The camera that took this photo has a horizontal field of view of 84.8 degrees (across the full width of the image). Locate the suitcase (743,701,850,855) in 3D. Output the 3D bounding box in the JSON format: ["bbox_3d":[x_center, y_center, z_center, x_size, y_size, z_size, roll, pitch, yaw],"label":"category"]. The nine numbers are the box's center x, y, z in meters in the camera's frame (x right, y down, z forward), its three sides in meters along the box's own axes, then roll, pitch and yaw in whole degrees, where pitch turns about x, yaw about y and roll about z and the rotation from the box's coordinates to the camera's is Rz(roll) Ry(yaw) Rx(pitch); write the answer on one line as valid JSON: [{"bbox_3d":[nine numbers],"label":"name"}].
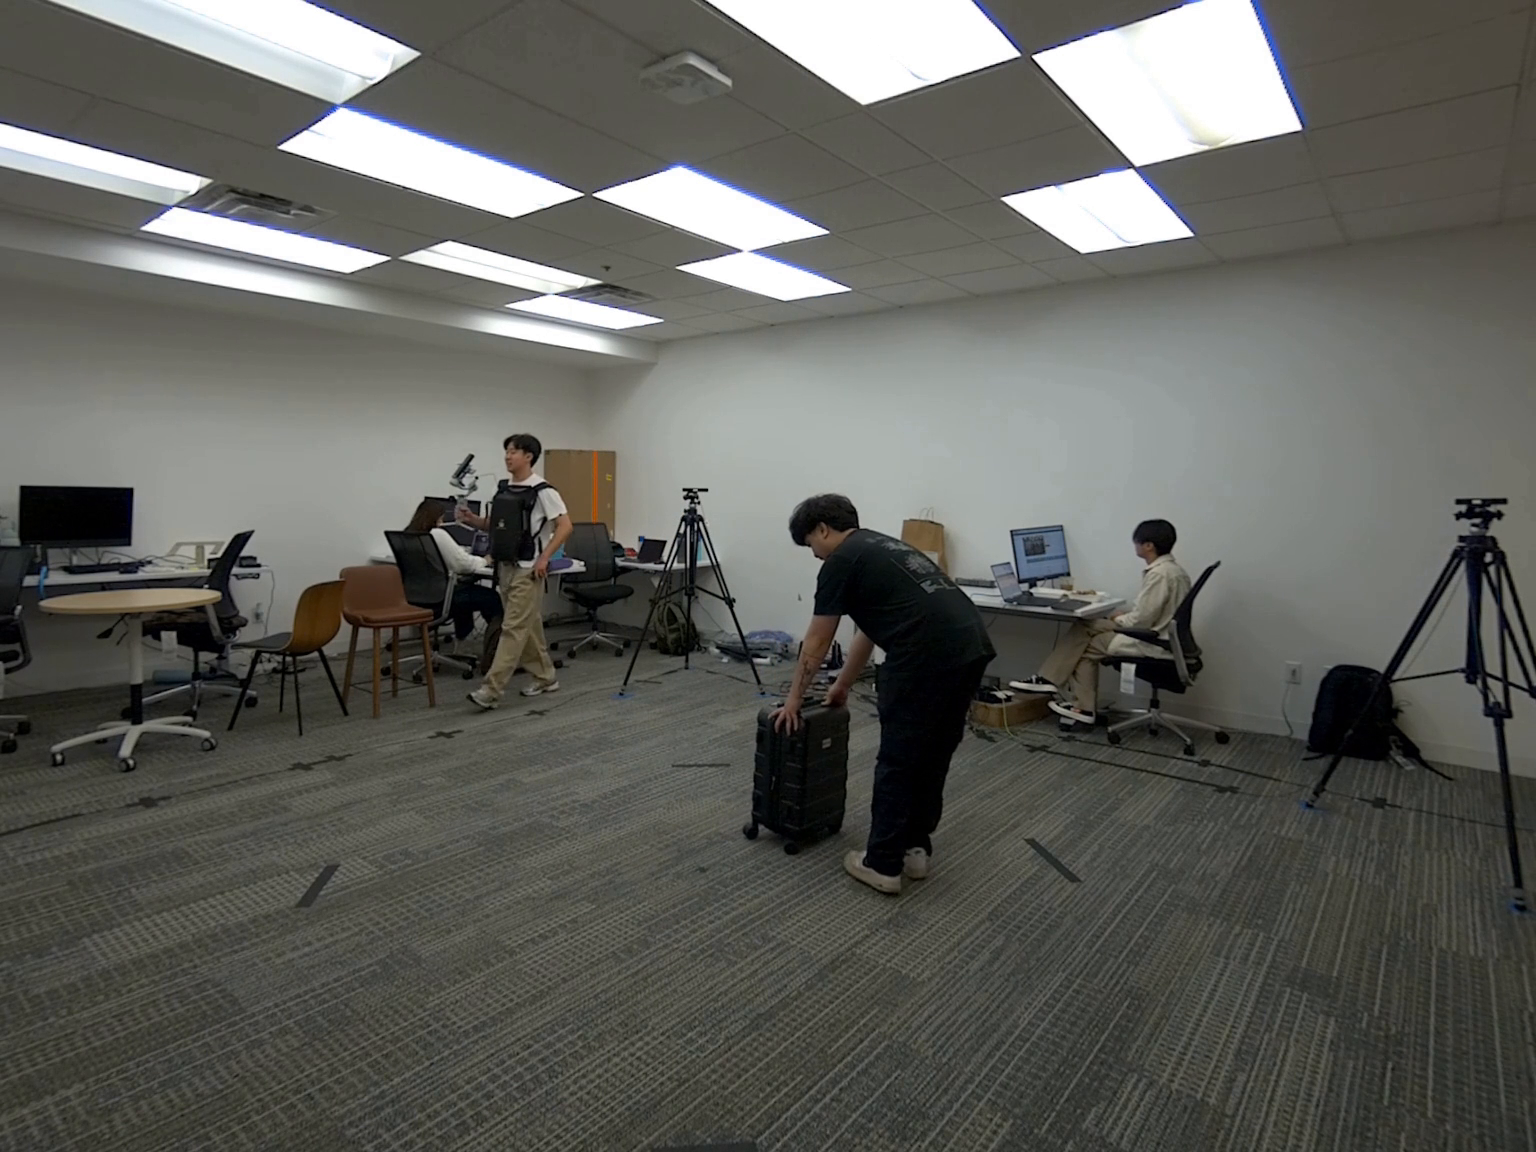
[{"bbox_3d":[0.126,0.773,3.429,0.257,0.547,0.364,7,5,41],"label":"suitcase"}]
